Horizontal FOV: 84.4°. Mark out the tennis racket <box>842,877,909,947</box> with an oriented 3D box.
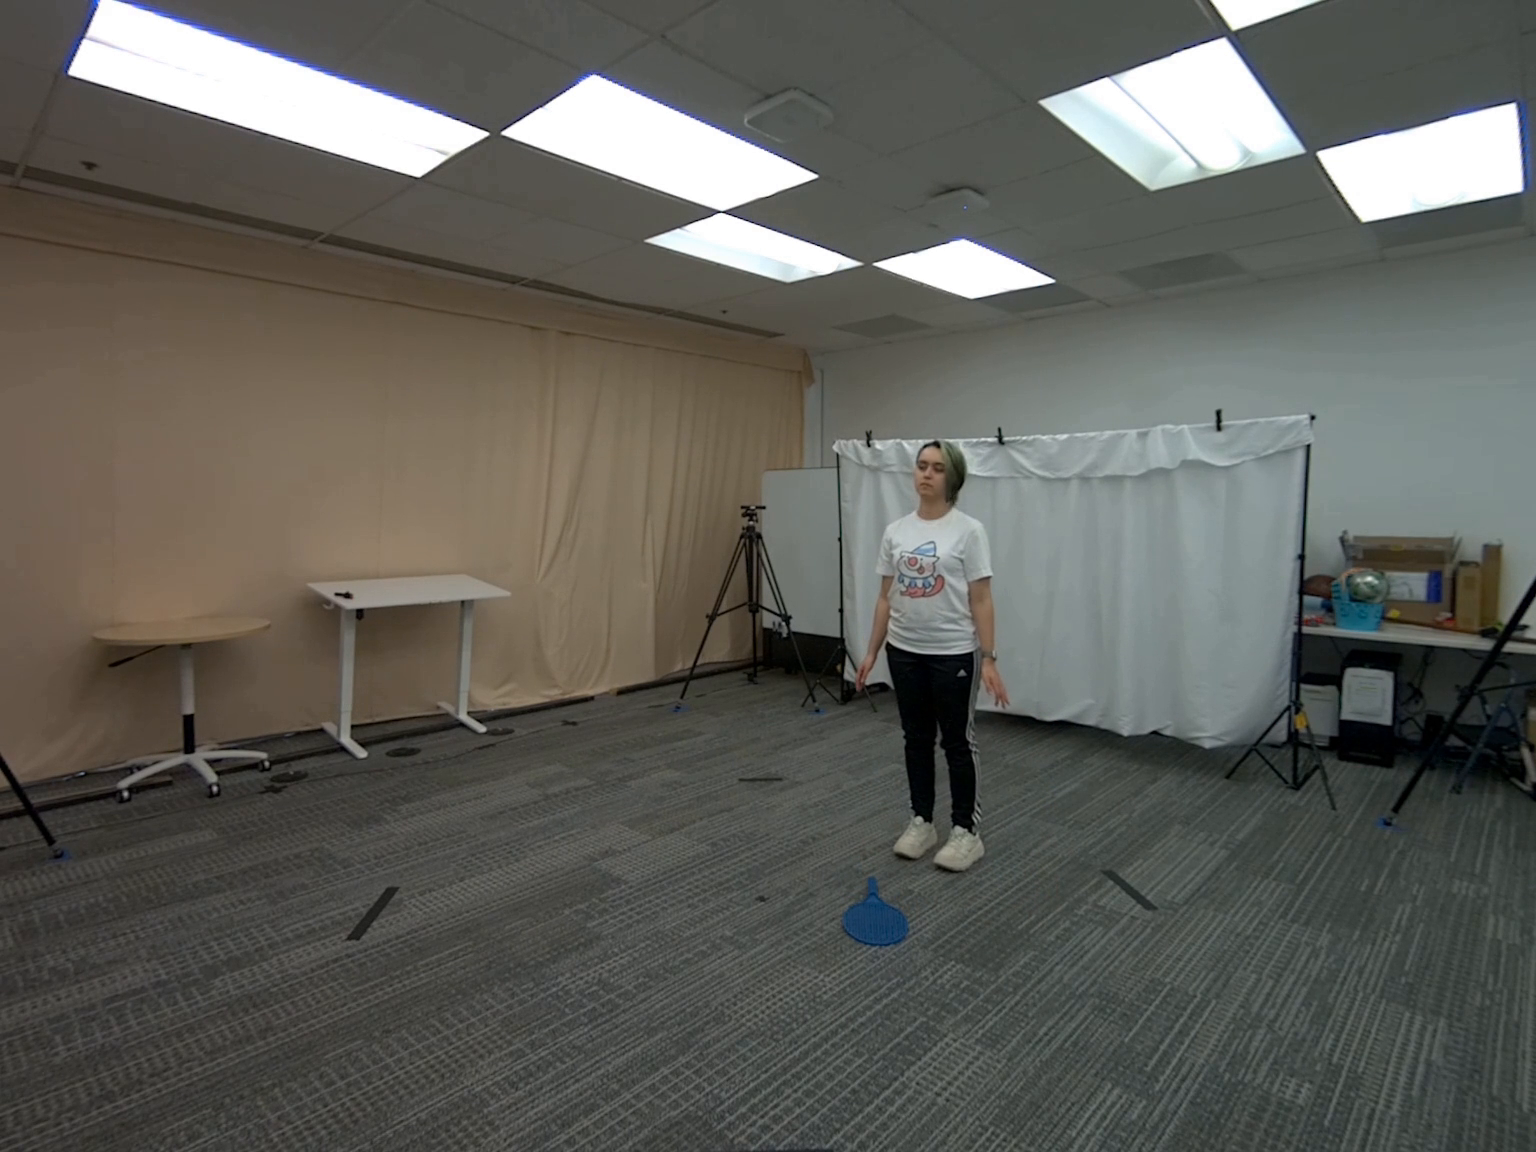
[{"bbox_3d":[0.363,1.137,2.874,0.215,0.031,0.432,0,6,3],"label":"tennis racket"}]
